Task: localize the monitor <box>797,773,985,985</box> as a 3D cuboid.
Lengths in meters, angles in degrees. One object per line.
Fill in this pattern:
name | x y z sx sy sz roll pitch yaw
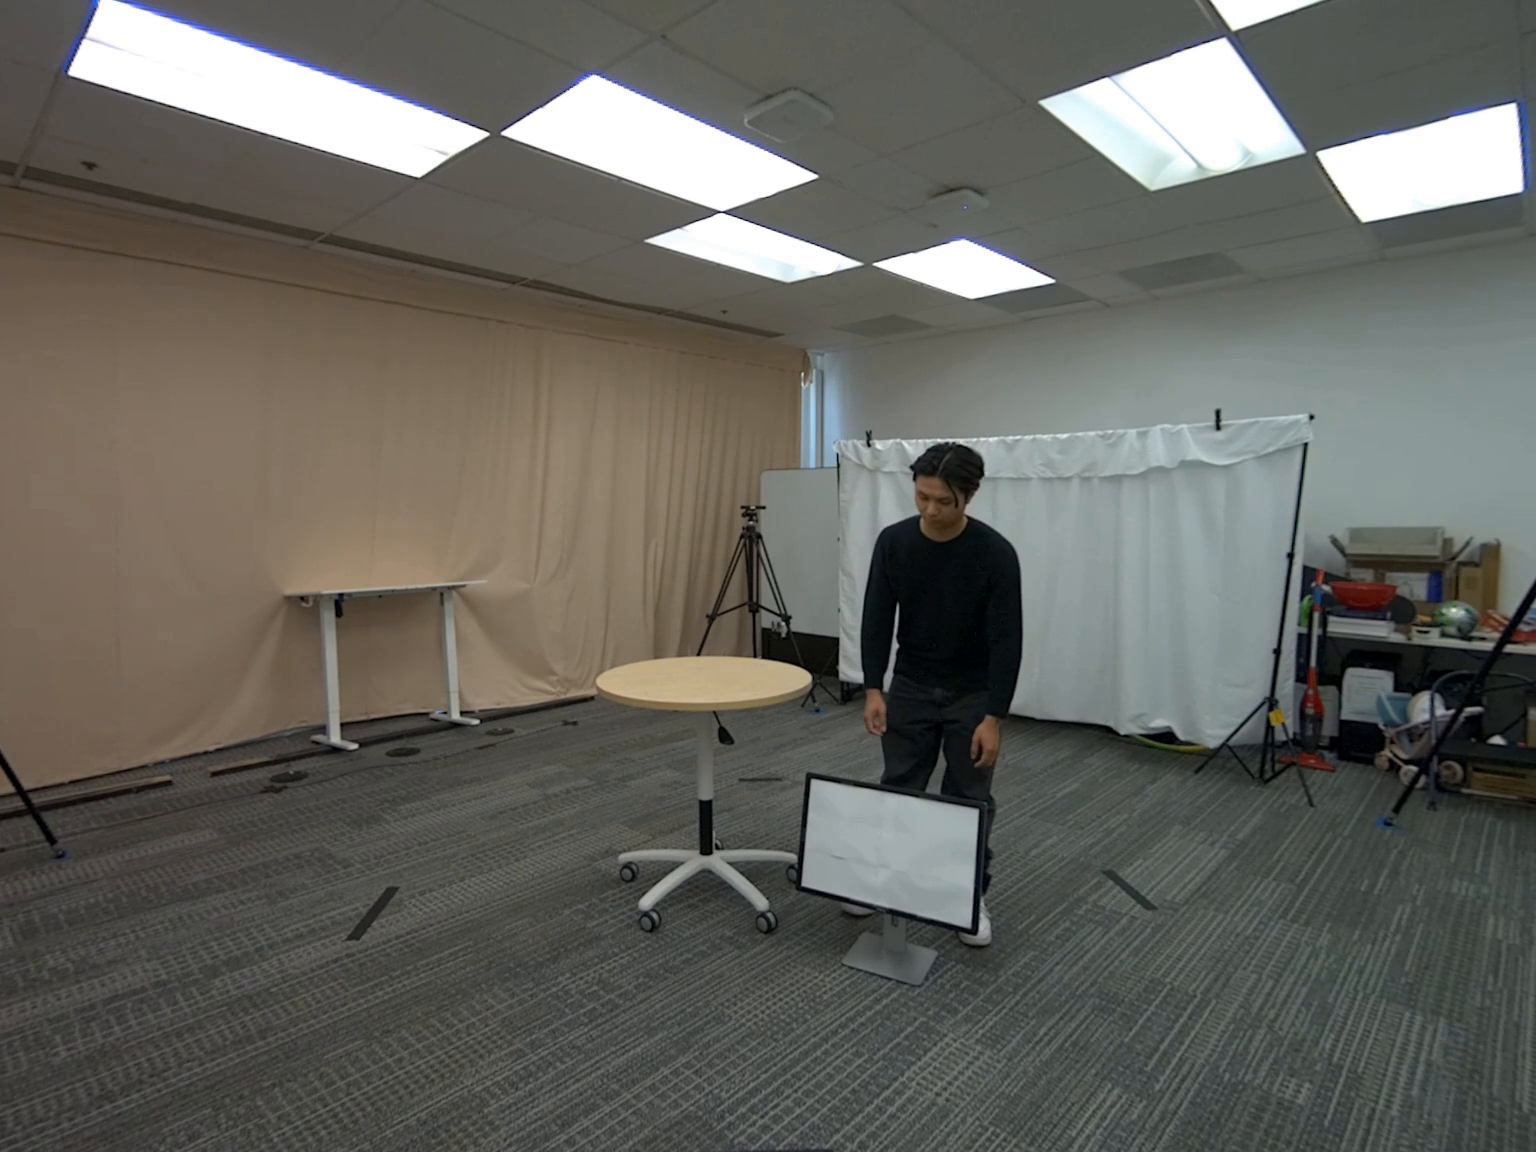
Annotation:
monitor | 0.381 0.913 2.561 0.554 0.521 0.182 3 5 29
